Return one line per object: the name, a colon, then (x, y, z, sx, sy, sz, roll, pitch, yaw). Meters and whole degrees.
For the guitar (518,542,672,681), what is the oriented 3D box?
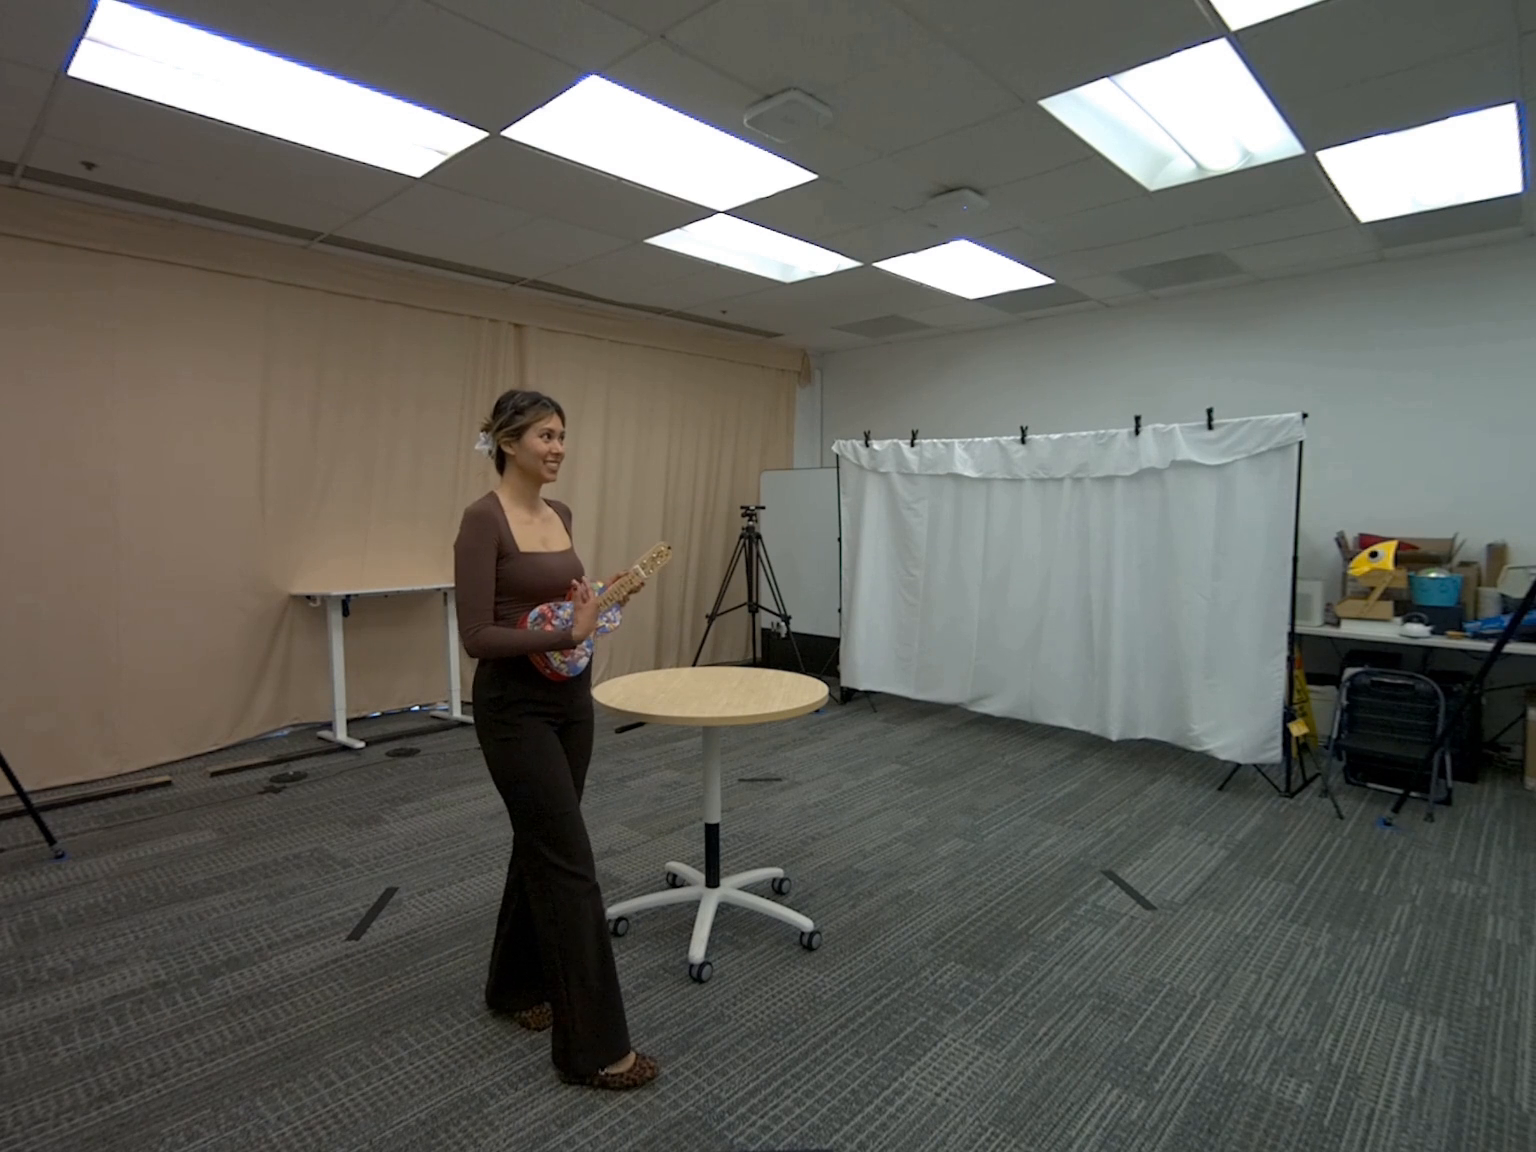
guitar: (-0.401, 0.083, 2.175, 0.489, 0.193, 0.072, -33, 2, -41)
